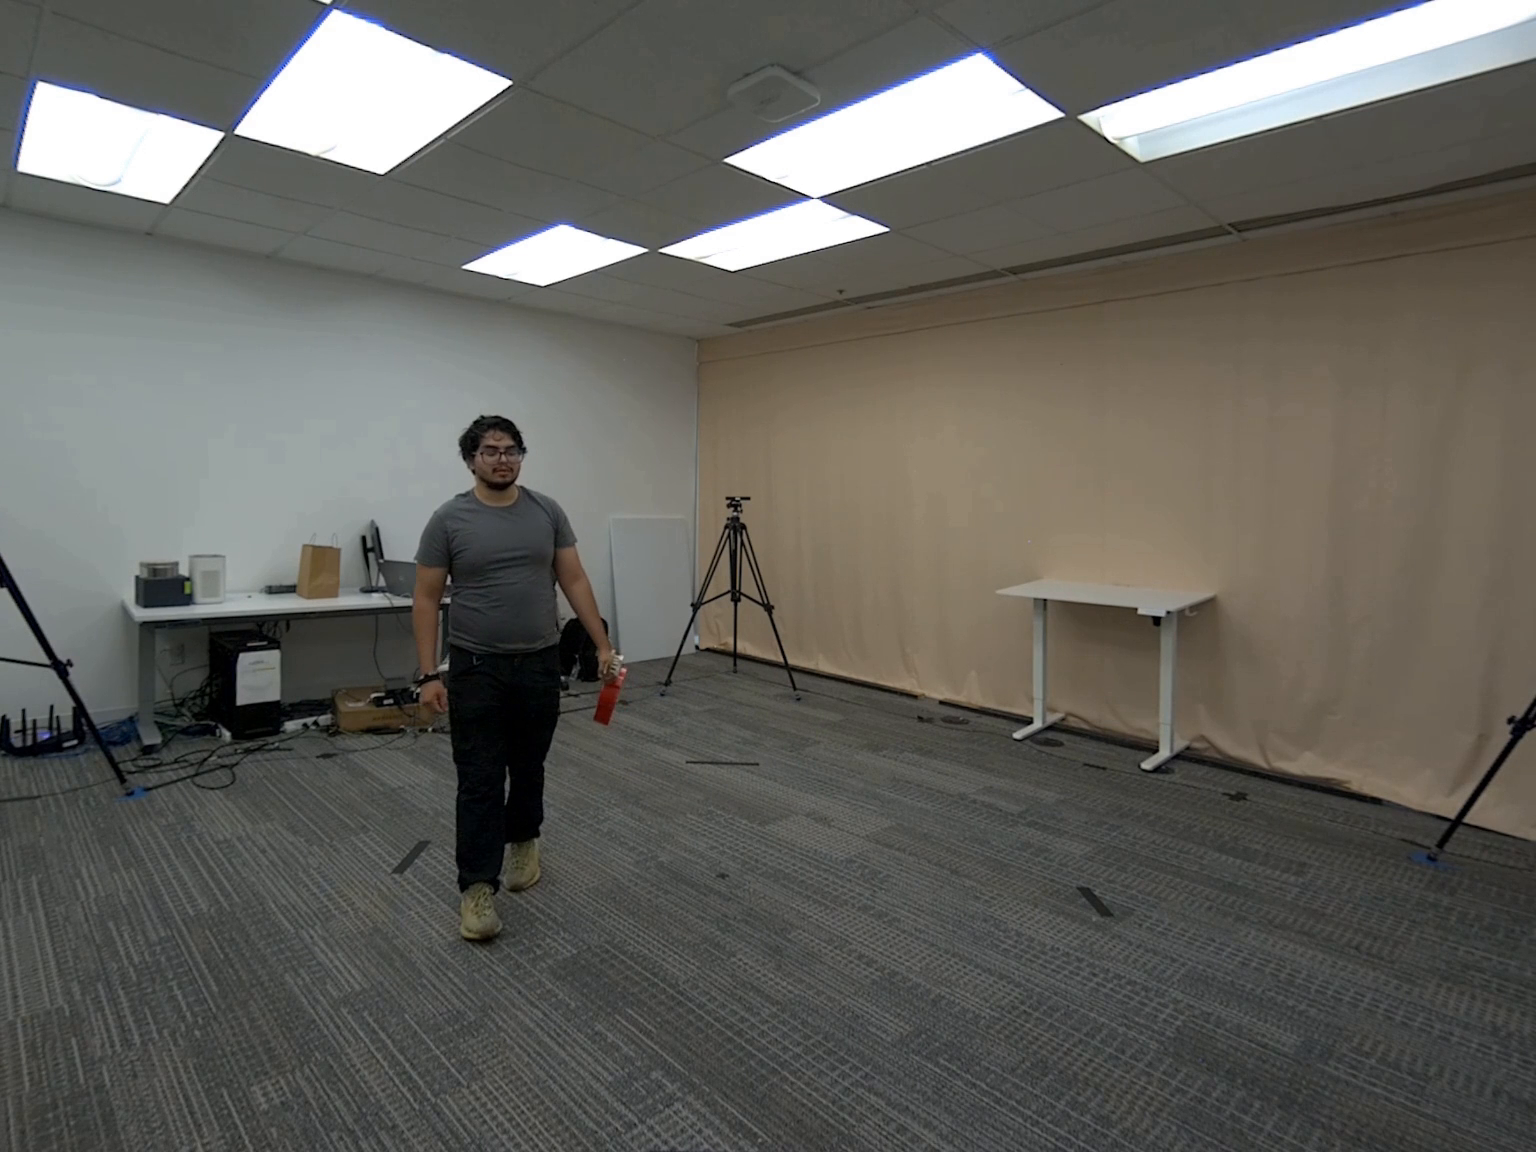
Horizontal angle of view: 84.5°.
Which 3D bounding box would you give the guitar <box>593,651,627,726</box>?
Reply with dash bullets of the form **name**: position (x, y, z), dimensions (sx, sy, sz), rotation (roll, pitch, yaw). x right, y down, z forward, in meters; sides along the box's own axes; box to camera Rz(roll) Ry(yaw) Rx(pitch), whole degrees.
- **guitar**: position (-0.562, 0.400, 2.924), dimensions (0.070, 0.195, 0.495), rotation (18, -19, -5)
